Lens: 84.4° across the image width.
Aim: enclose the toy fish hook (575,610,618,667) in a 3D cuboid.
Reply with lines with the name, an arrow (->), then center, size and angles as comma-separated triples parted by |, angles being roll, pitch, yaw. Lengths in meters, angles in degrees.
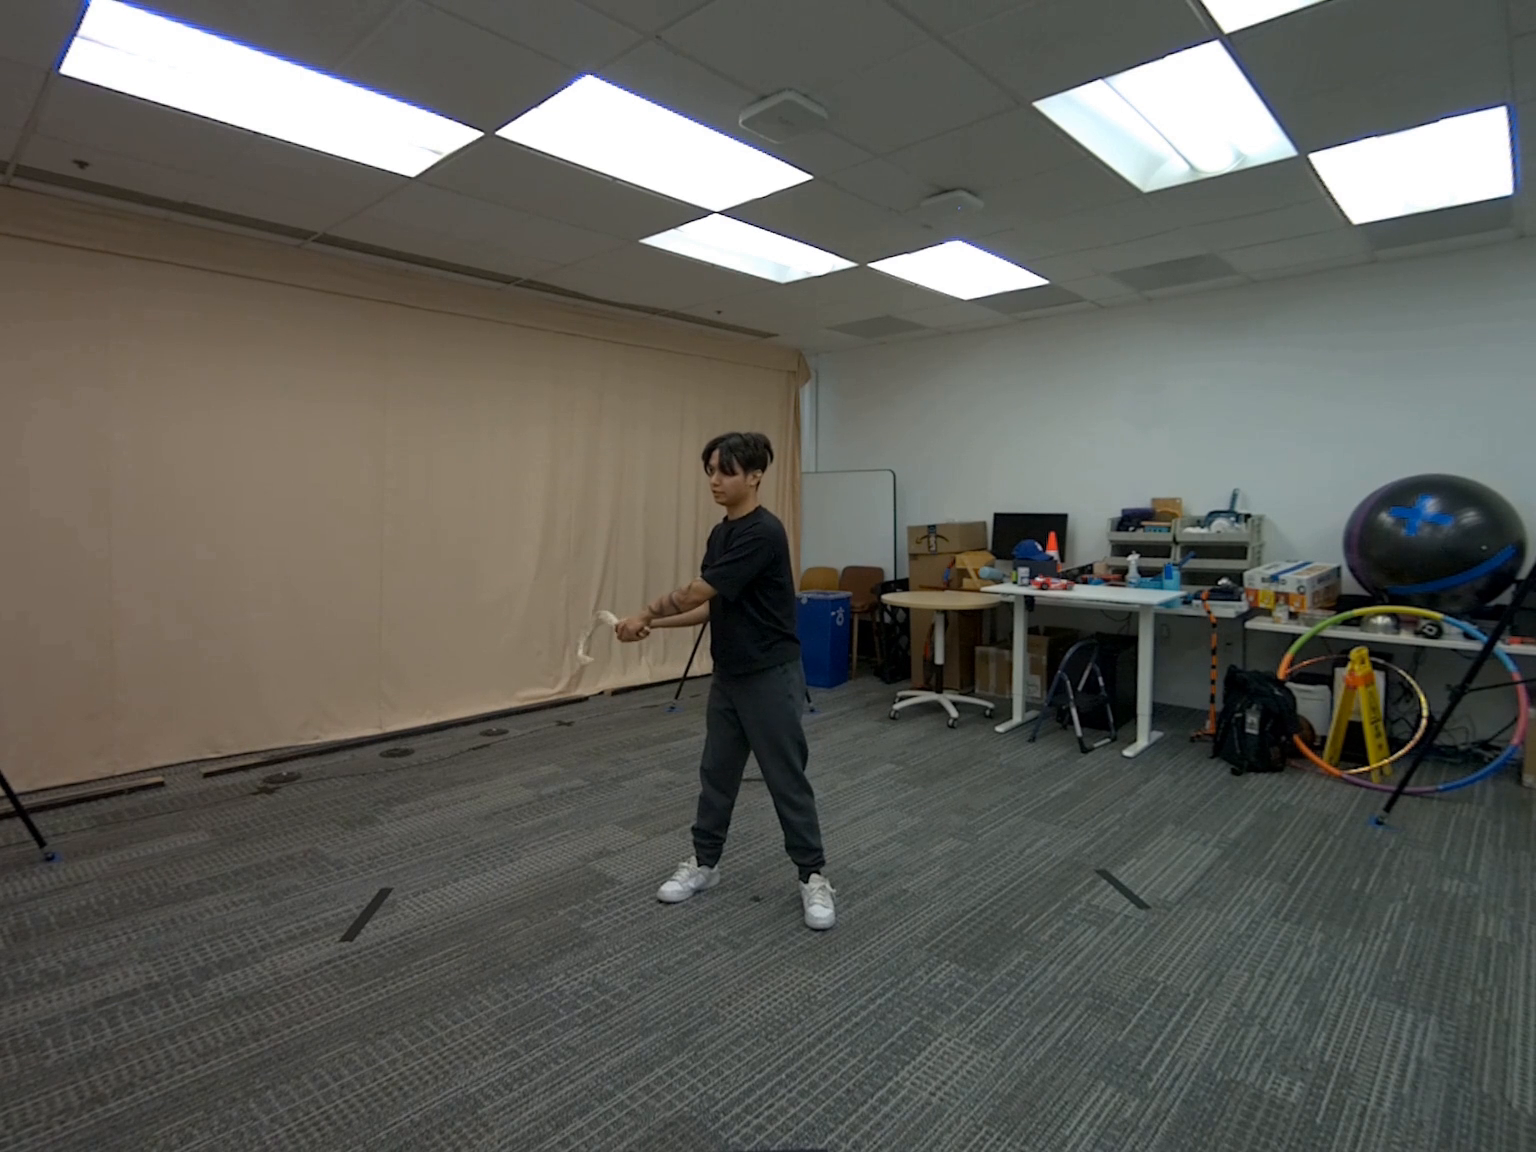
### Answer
toy fish hook -> -0.574, 0.245, 3.066 | 0.047, 0.225, 0.521 | 26, -15, -32
